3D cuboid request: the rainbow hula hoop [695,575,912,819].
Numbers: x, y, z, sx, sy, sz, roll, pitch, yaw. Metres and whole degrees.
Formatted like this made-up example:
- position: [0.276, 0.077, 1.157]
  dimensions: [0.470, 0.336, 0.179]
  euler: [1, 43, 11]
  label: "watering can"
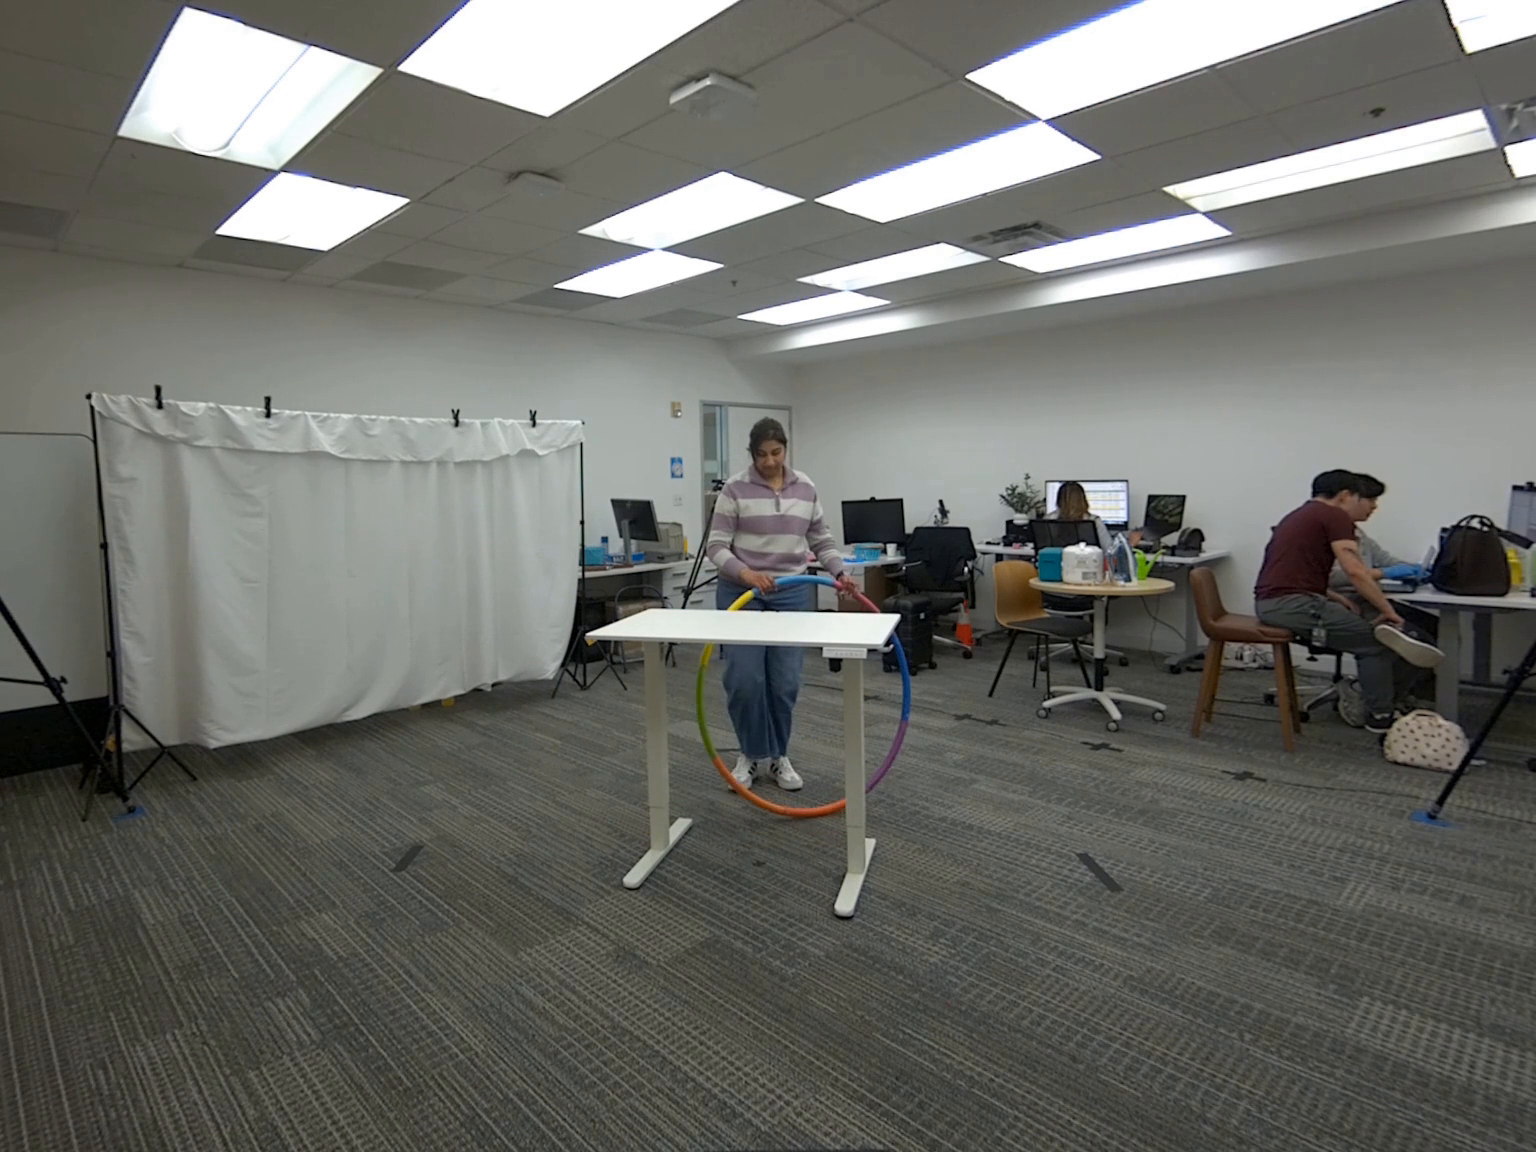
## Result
- position: [0.162, 0.501, 3.591]
  dimensions: [0.963, 0.983, 0.036]
  euler: [-3, -5, -18]
  label: "rainbow hula hoop"
